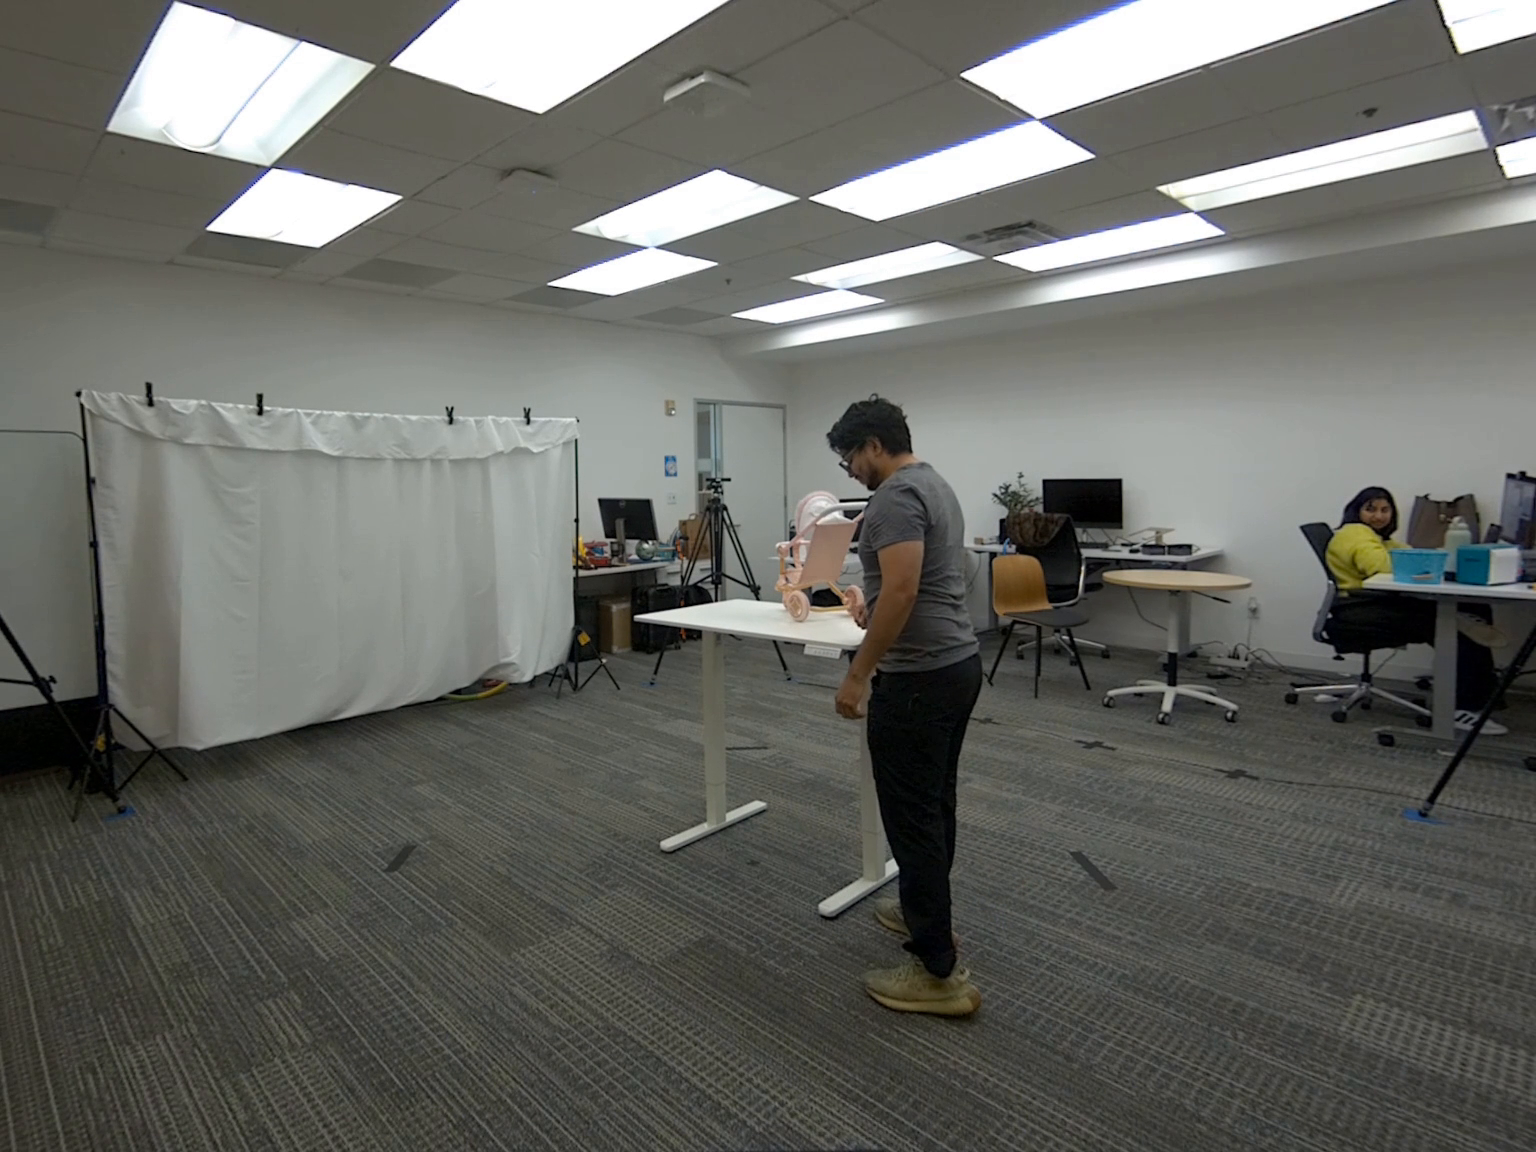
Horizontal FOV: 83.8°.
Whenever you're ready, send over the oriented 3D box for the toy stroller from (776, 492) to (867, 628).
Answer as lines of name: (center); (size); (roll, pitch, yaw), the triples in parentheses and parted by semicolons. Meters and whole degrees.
toy stroller: (0.180, -0.072, 3.143); (0.275, 0.527, 0.354); (-3, 22, -26)
